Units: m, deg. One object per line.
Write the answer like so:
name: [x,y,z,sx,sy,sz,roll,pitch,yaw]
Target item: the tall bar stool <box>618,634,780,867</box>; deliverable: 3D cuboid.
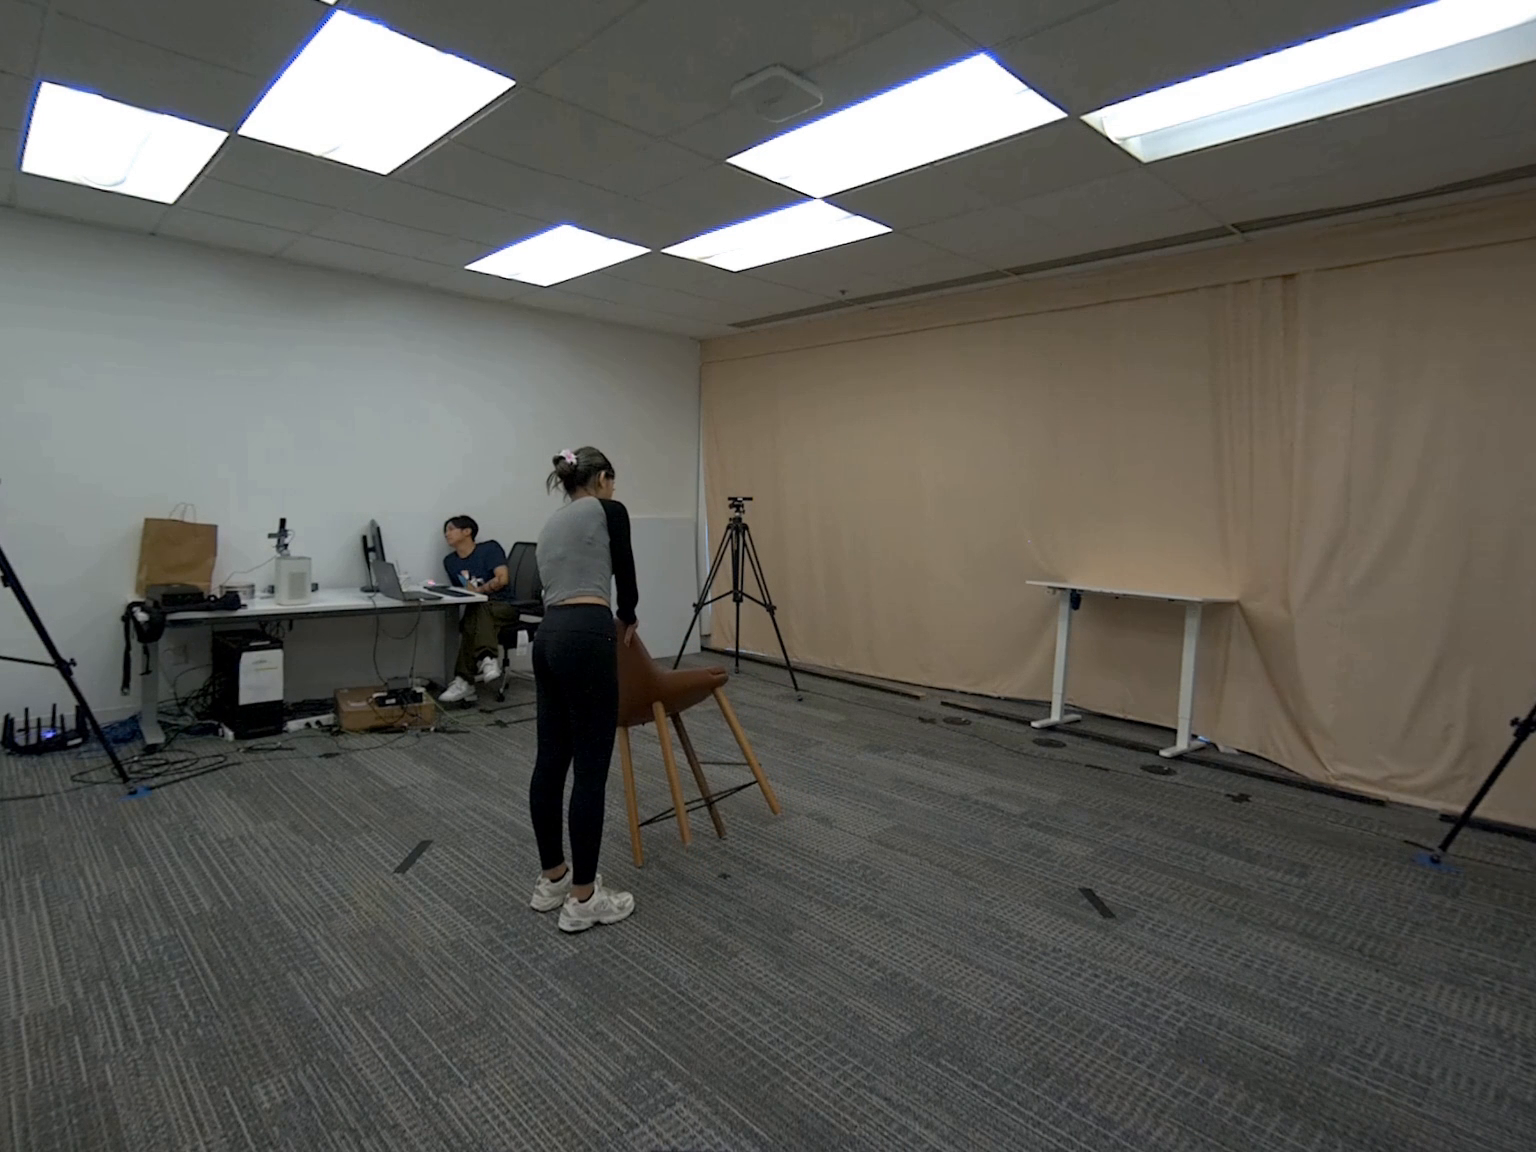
tall bar stool: [-0.386,0.612,3.324,0.458,0.905,0.458,-6,-23,-42]
